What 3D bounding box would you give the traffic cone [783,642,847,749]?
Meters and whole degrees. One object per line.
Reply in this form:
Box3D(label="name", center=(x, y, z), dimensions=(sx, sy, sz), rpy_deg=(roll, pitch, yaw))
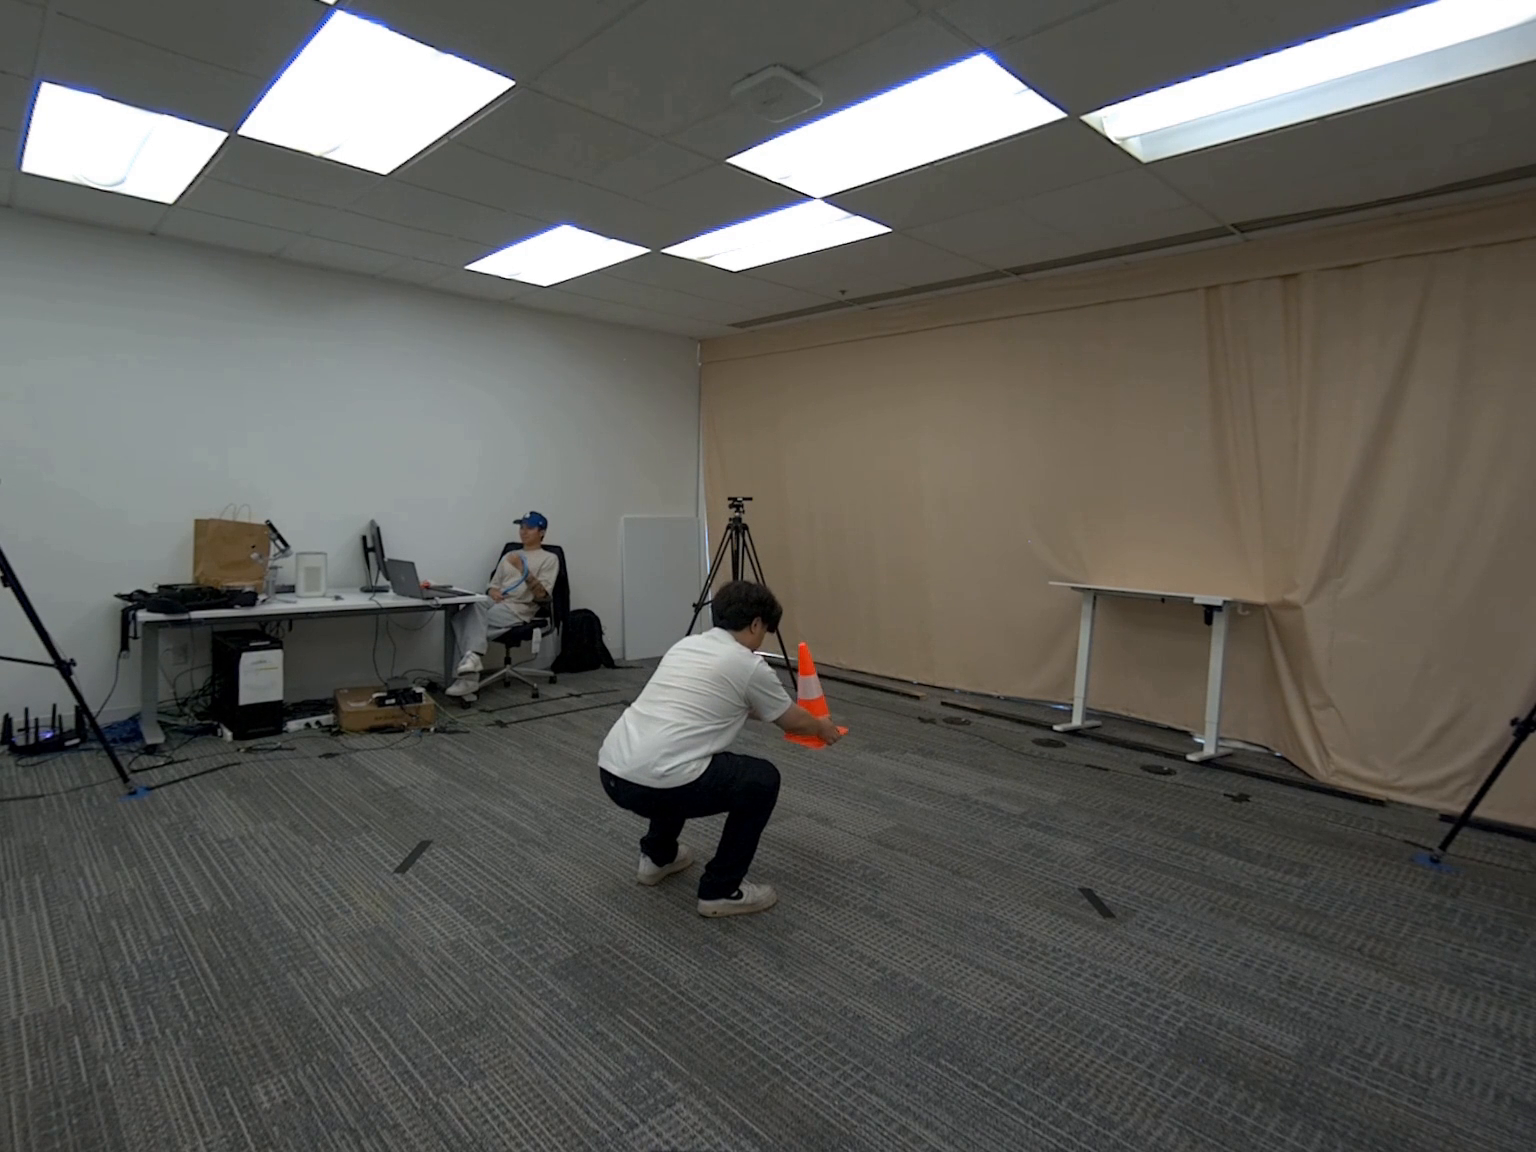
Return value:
Box3D(label="traffic cone", center=(0.155, 0.449, 3.353), dimensions=(0.209, 0.381, 0.201), rpy_deg=(-4, 8, 27))
